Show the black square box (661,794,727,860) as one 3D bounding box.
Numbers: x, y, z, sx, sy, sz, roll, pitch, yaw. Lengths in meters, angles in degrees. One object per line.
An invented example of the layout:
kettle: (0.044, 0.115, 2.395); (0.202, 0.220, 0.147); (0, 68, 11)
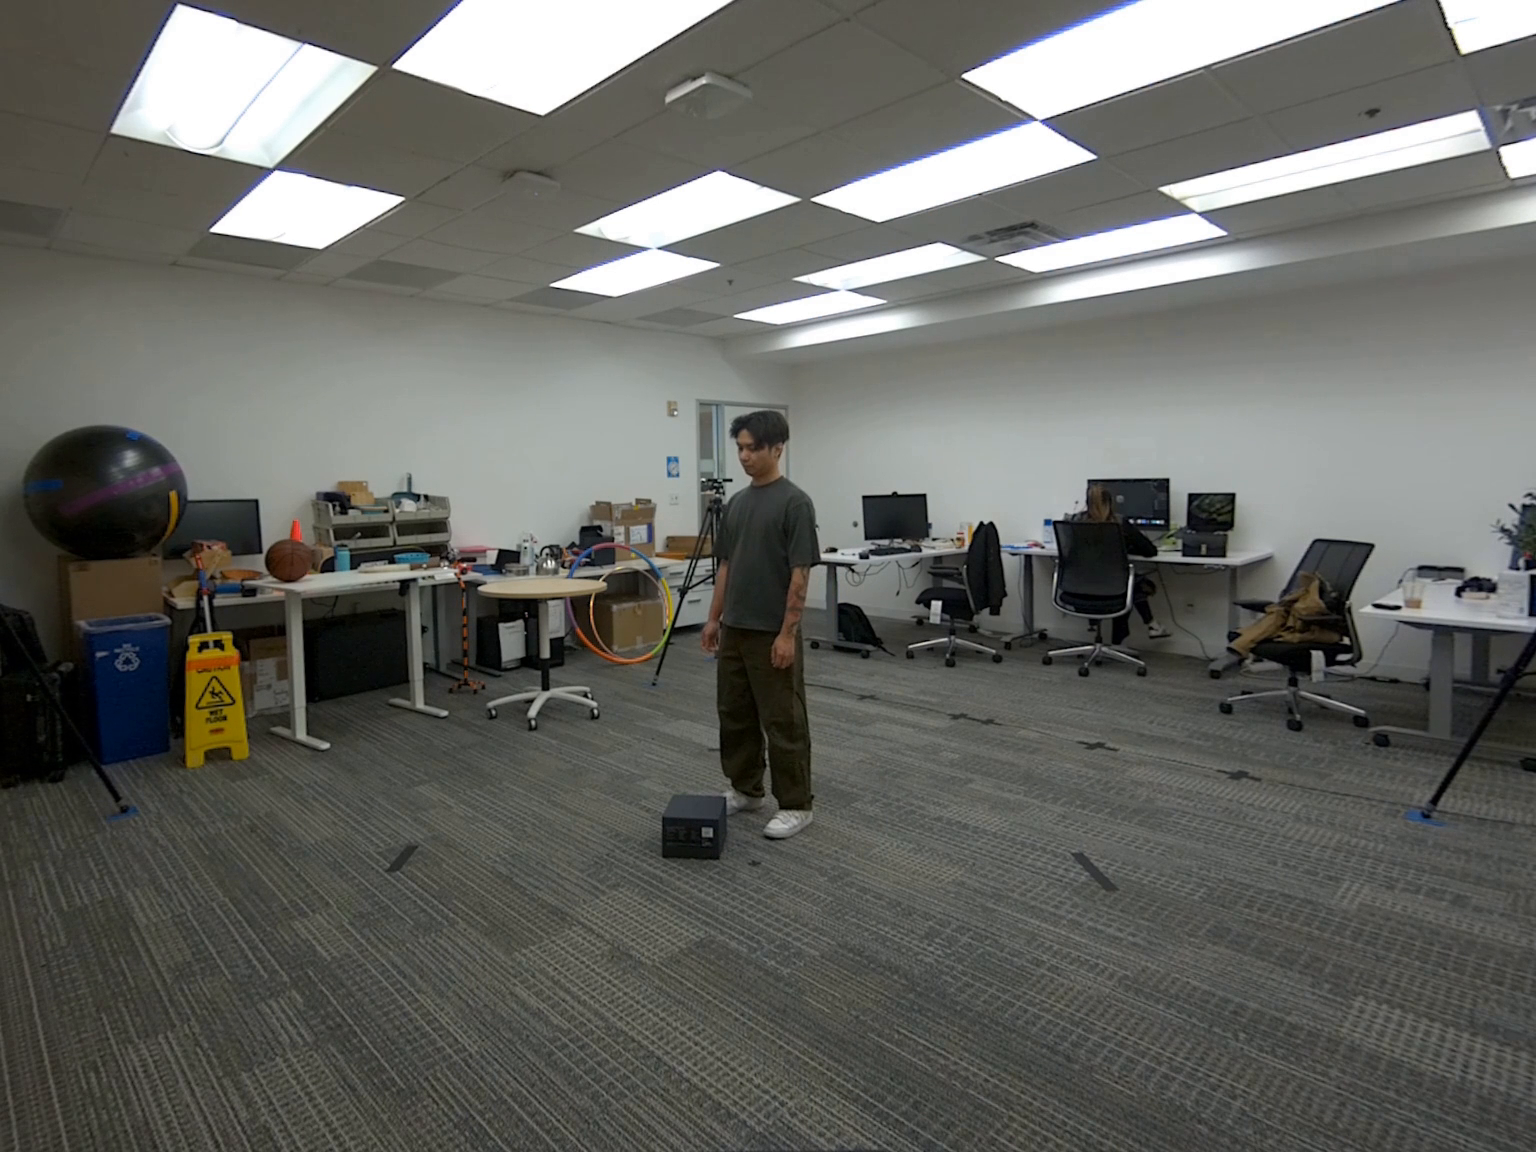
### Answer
black square box: (-0.278, 0.948, 3.252); (0.218, 0.155, 0.227); (0, 6, 5)
